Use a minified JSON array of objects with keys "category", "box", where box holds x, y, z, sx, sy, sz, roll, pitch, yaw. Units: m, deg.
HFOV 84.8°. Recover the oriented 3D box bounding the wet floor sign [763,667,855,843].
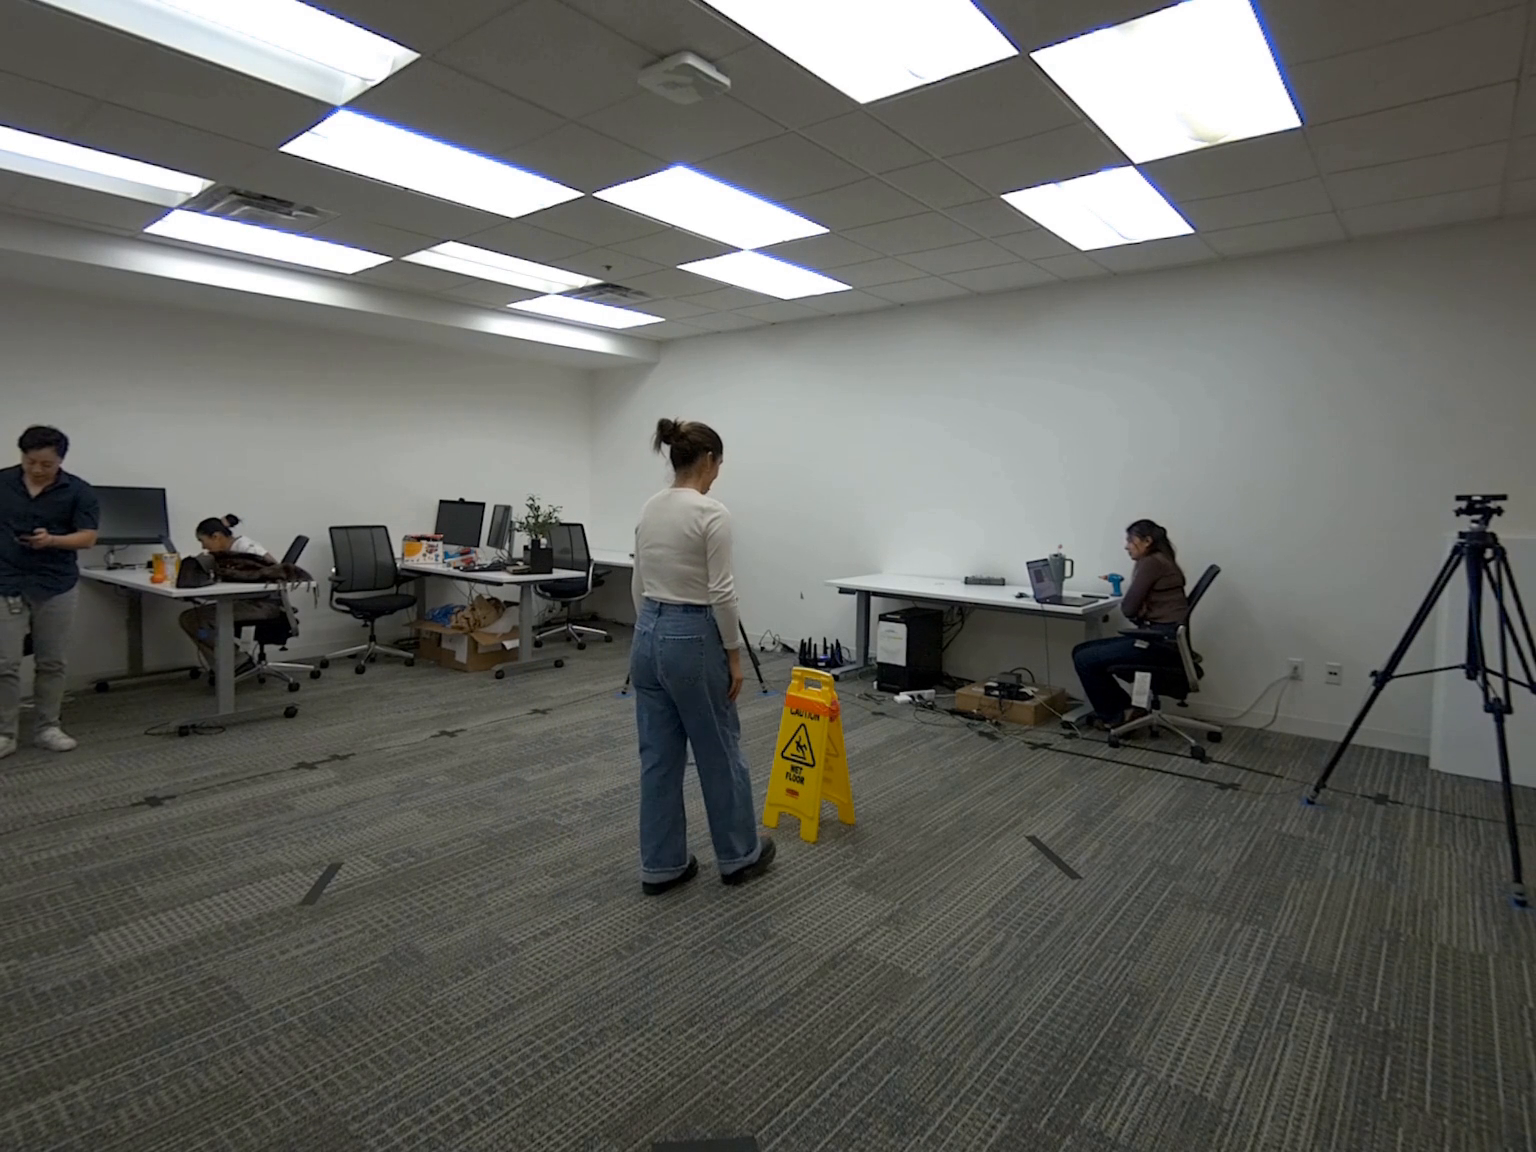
[{"category":"wet floor sign","box":[0.170,0.706,3.530,0.292,0.644,0.281,5,4,41]}]
